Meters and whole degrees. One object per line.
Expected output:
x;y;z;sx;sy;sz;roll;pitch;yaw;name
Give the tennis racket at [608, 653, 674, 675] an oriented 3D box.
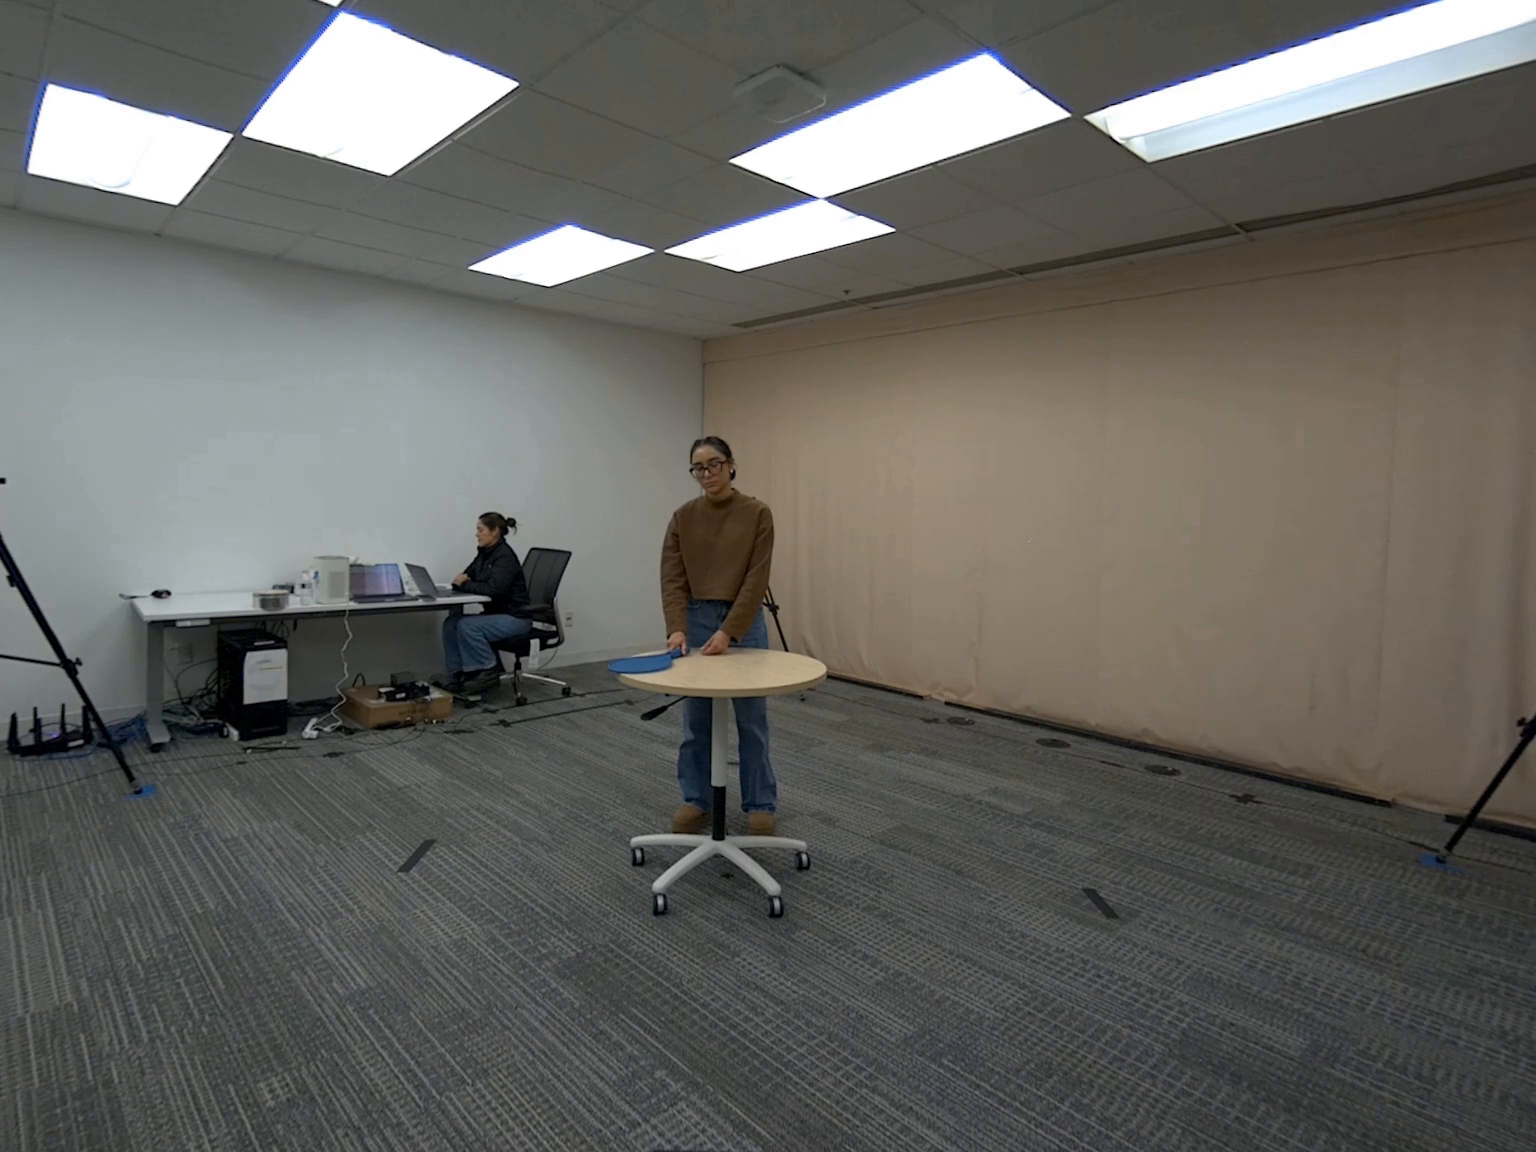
-0.441;0.316;3.087;0.218;0.031;0.426;4;7;26;tennis racket
